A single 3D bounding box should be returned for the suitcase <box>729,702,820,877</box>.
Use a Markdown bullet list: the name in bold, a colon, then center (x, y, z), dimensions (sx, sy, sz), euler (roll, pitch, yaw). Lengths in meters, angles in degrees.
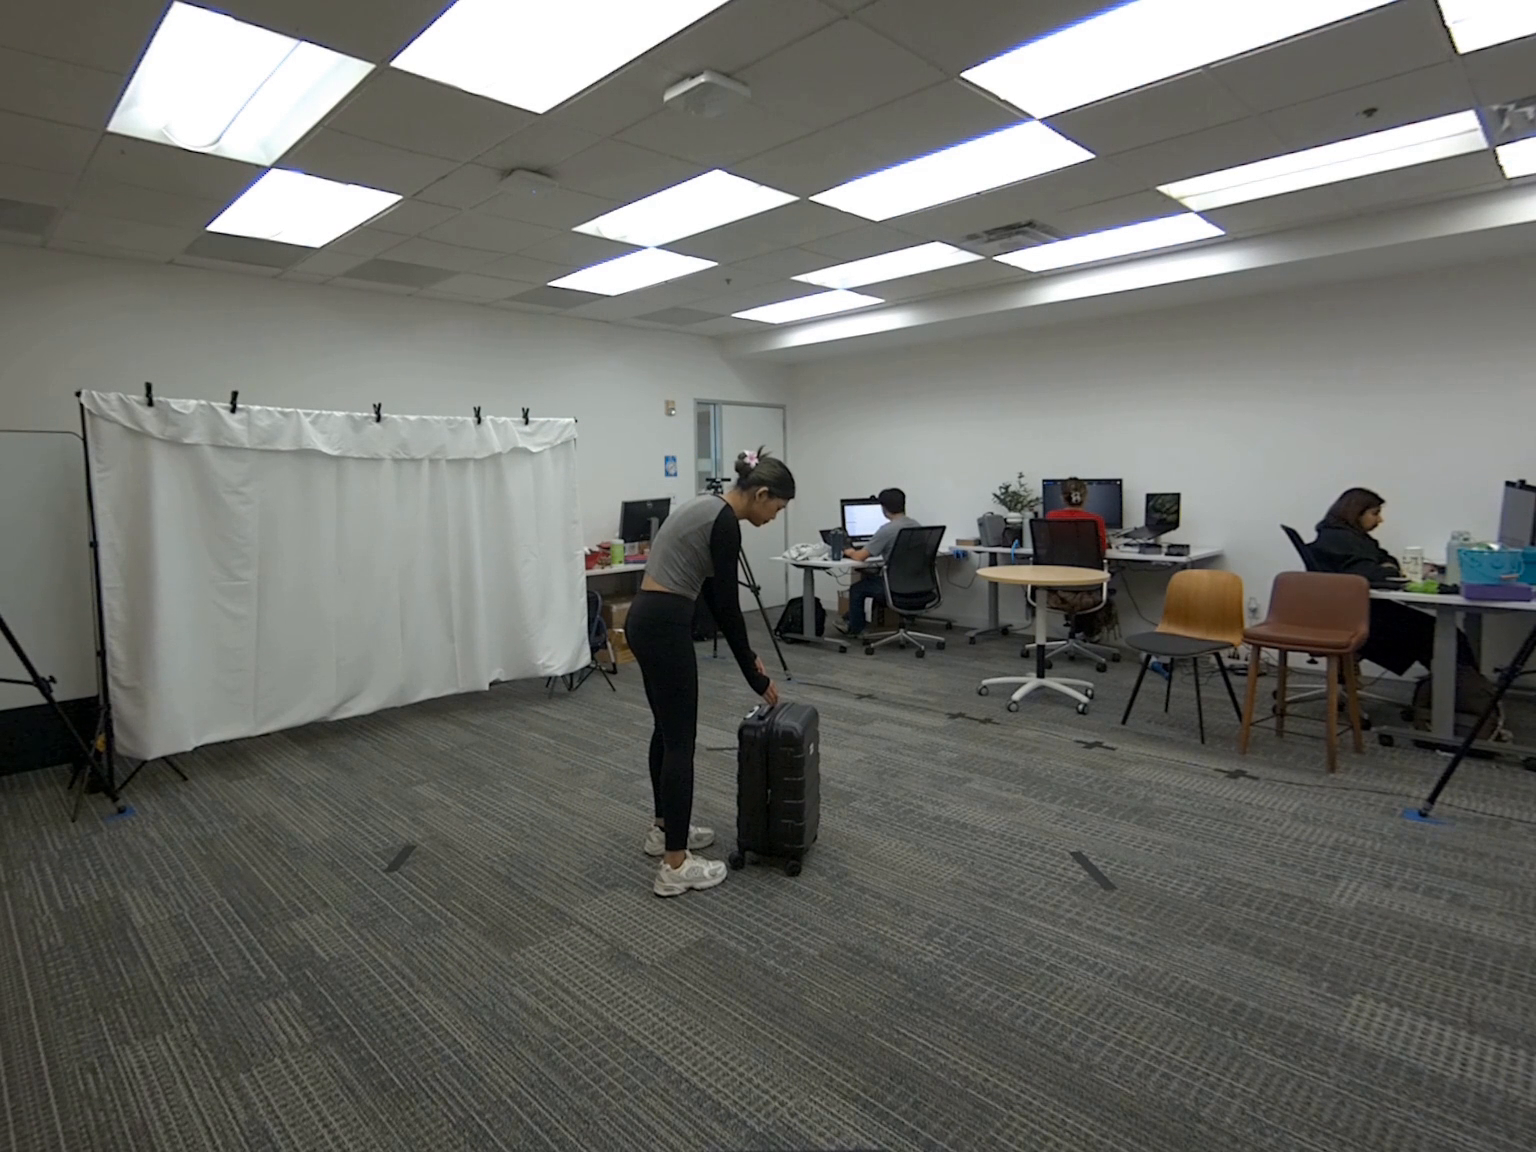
- **suitcase**: center (0.044, 0.756, 3.169), dimensions (0.253, 0.547, 0.370), euler (2, 4, 17)
